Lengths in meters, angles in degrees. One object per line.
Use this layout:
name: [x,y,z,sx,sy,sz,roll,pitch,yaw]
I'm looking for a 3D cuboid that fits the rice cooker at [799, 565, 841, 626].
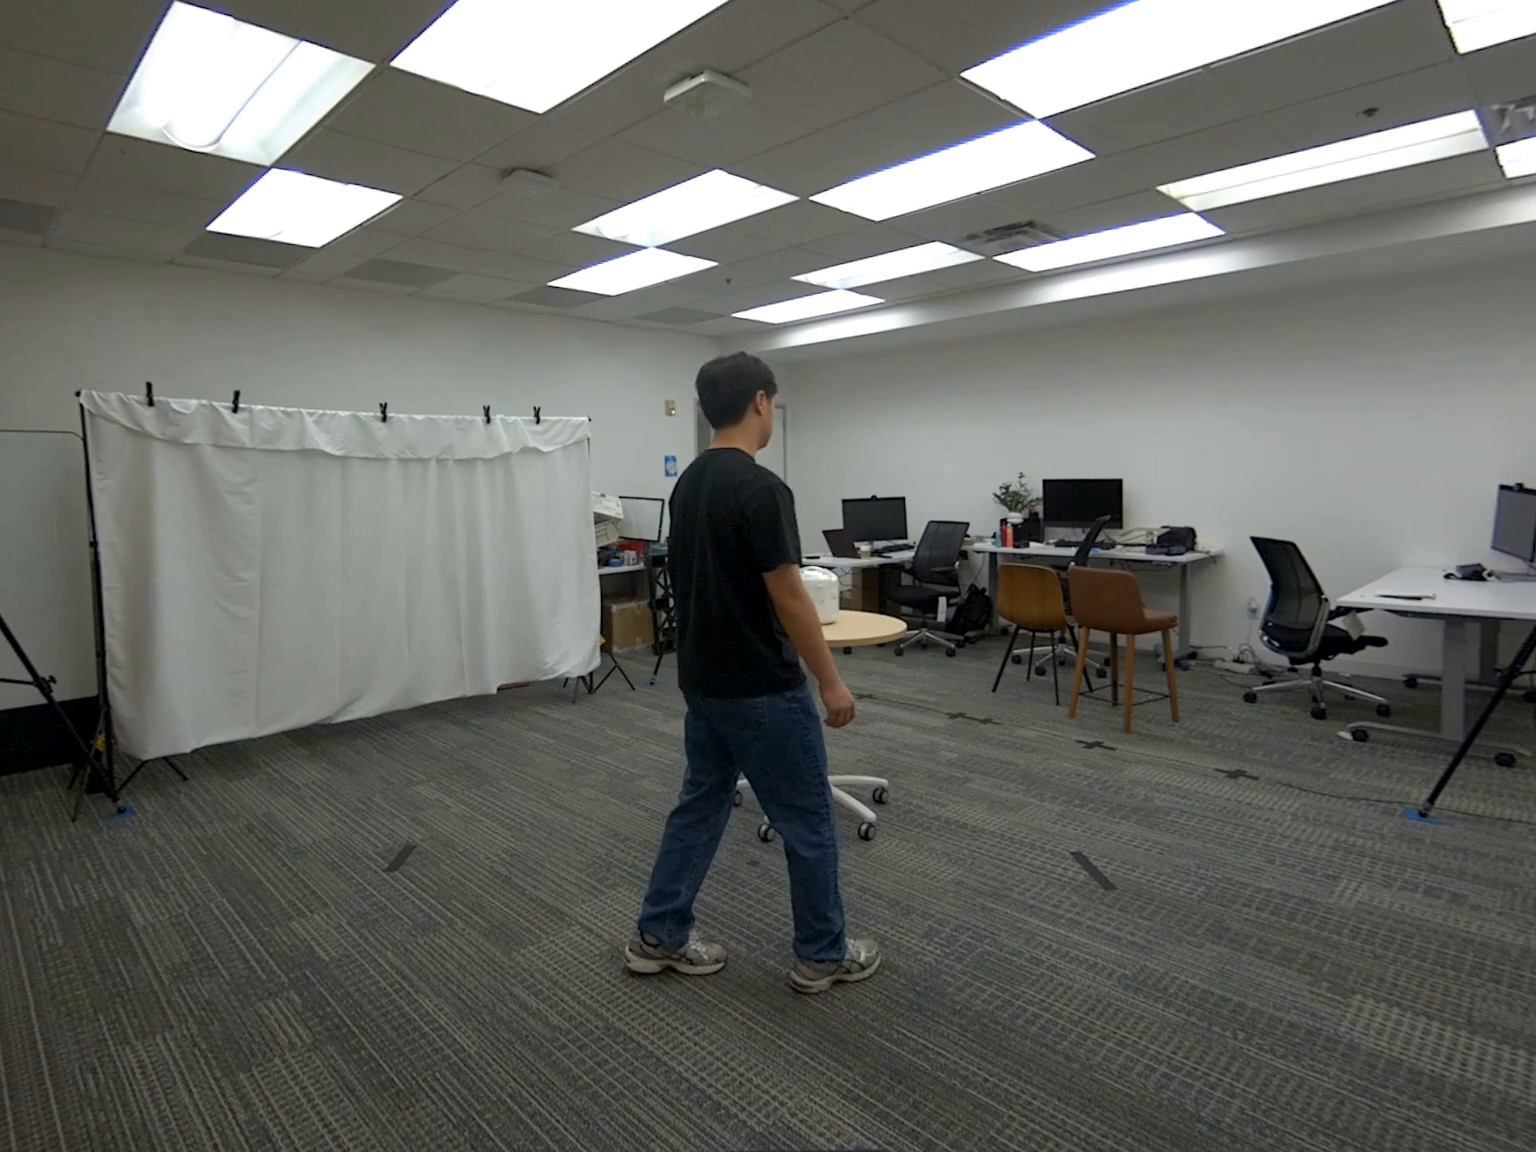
rice cooker: [0.198,0.075,3.554,0.227,0.231,0.212,5,9,42]
